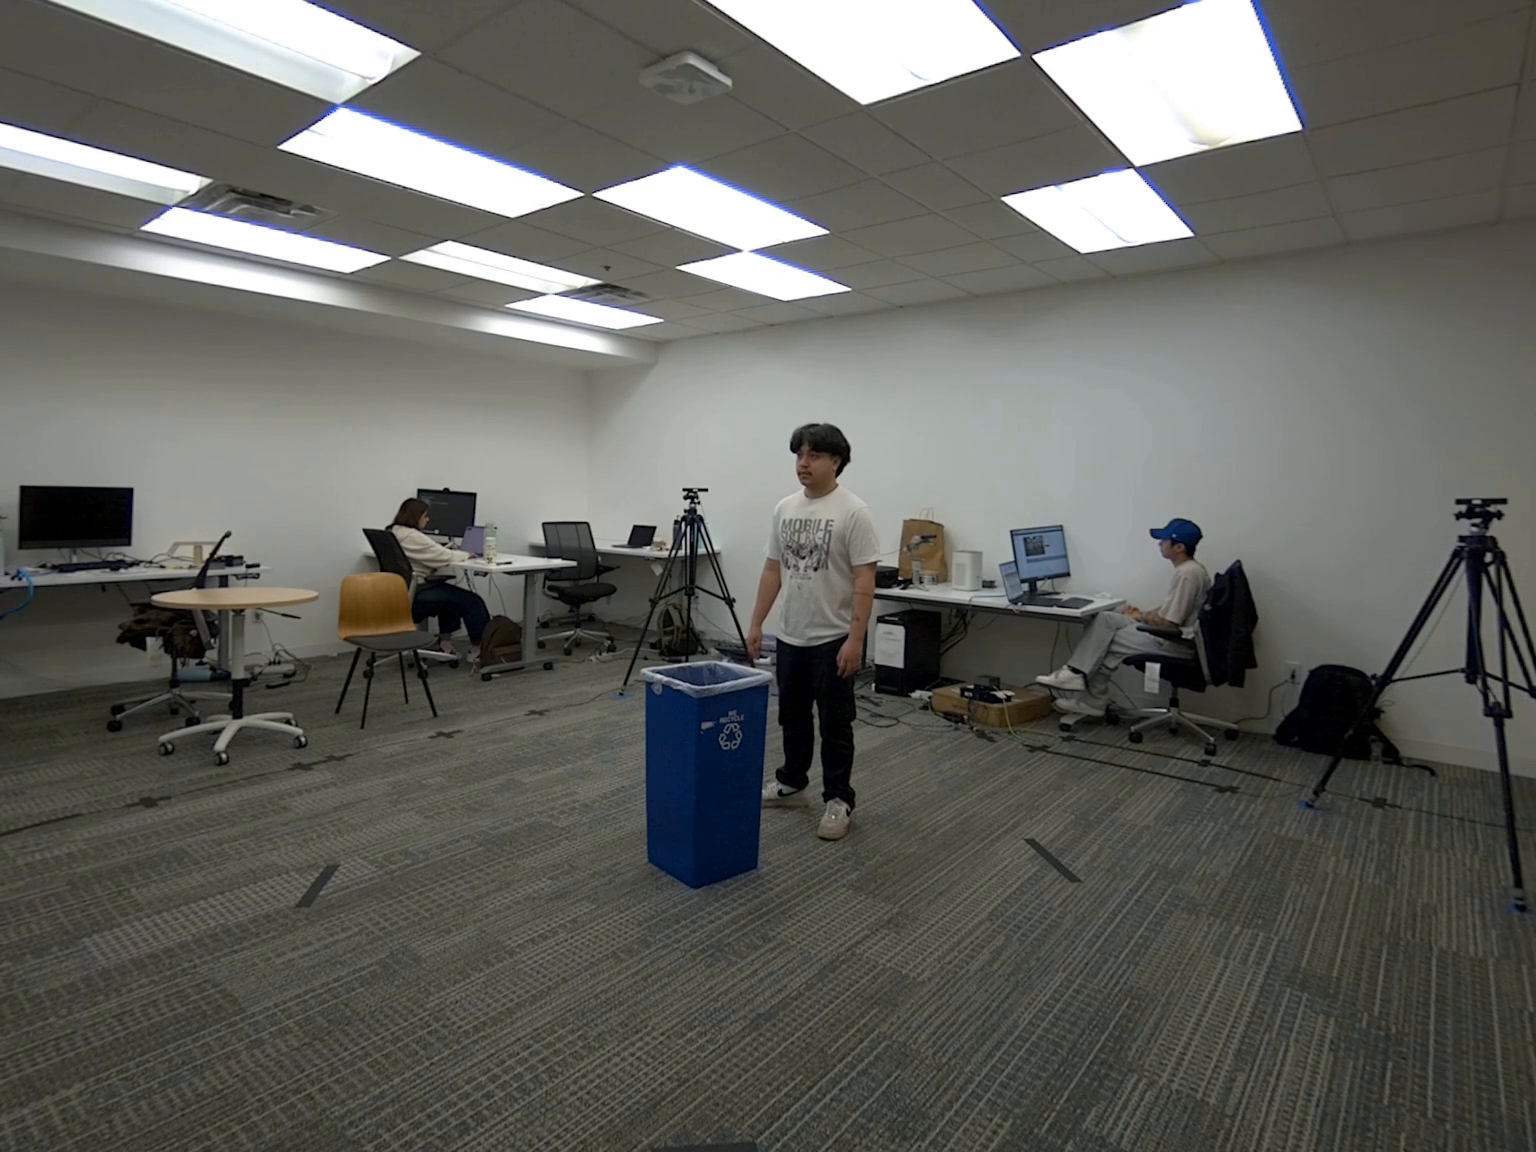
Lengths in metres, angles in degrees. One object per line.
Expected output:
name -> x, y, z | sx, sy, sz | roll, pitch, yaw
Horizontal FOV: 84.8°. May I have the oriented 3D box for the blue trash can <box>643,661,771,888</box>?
blue trash can -> -0.241, 0.707, 3.144 | 0.363, 0.711, 0.391 | -2, 5, -41
